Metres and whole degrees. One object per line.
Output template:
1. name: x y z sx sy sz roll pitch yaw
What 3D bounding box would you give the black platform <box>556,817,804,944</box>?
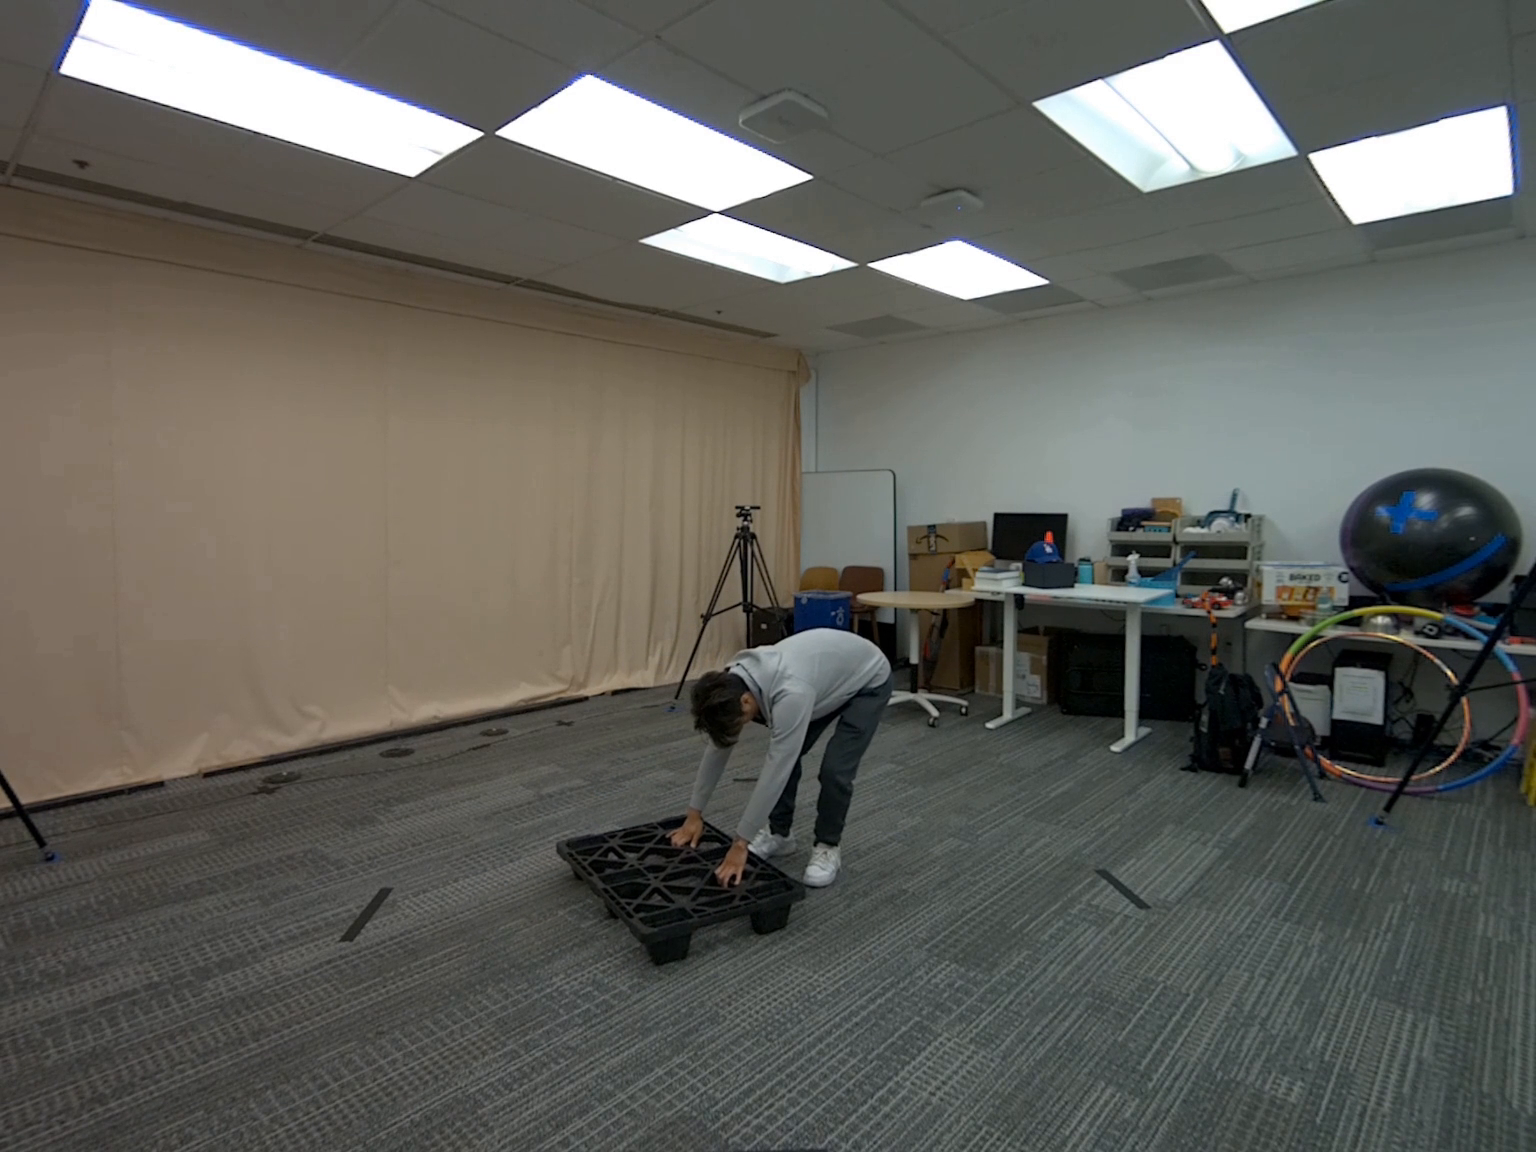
1. black platform: -0.336 1.079 2.977 0.589 0.143 0.830 -3 5 -31
